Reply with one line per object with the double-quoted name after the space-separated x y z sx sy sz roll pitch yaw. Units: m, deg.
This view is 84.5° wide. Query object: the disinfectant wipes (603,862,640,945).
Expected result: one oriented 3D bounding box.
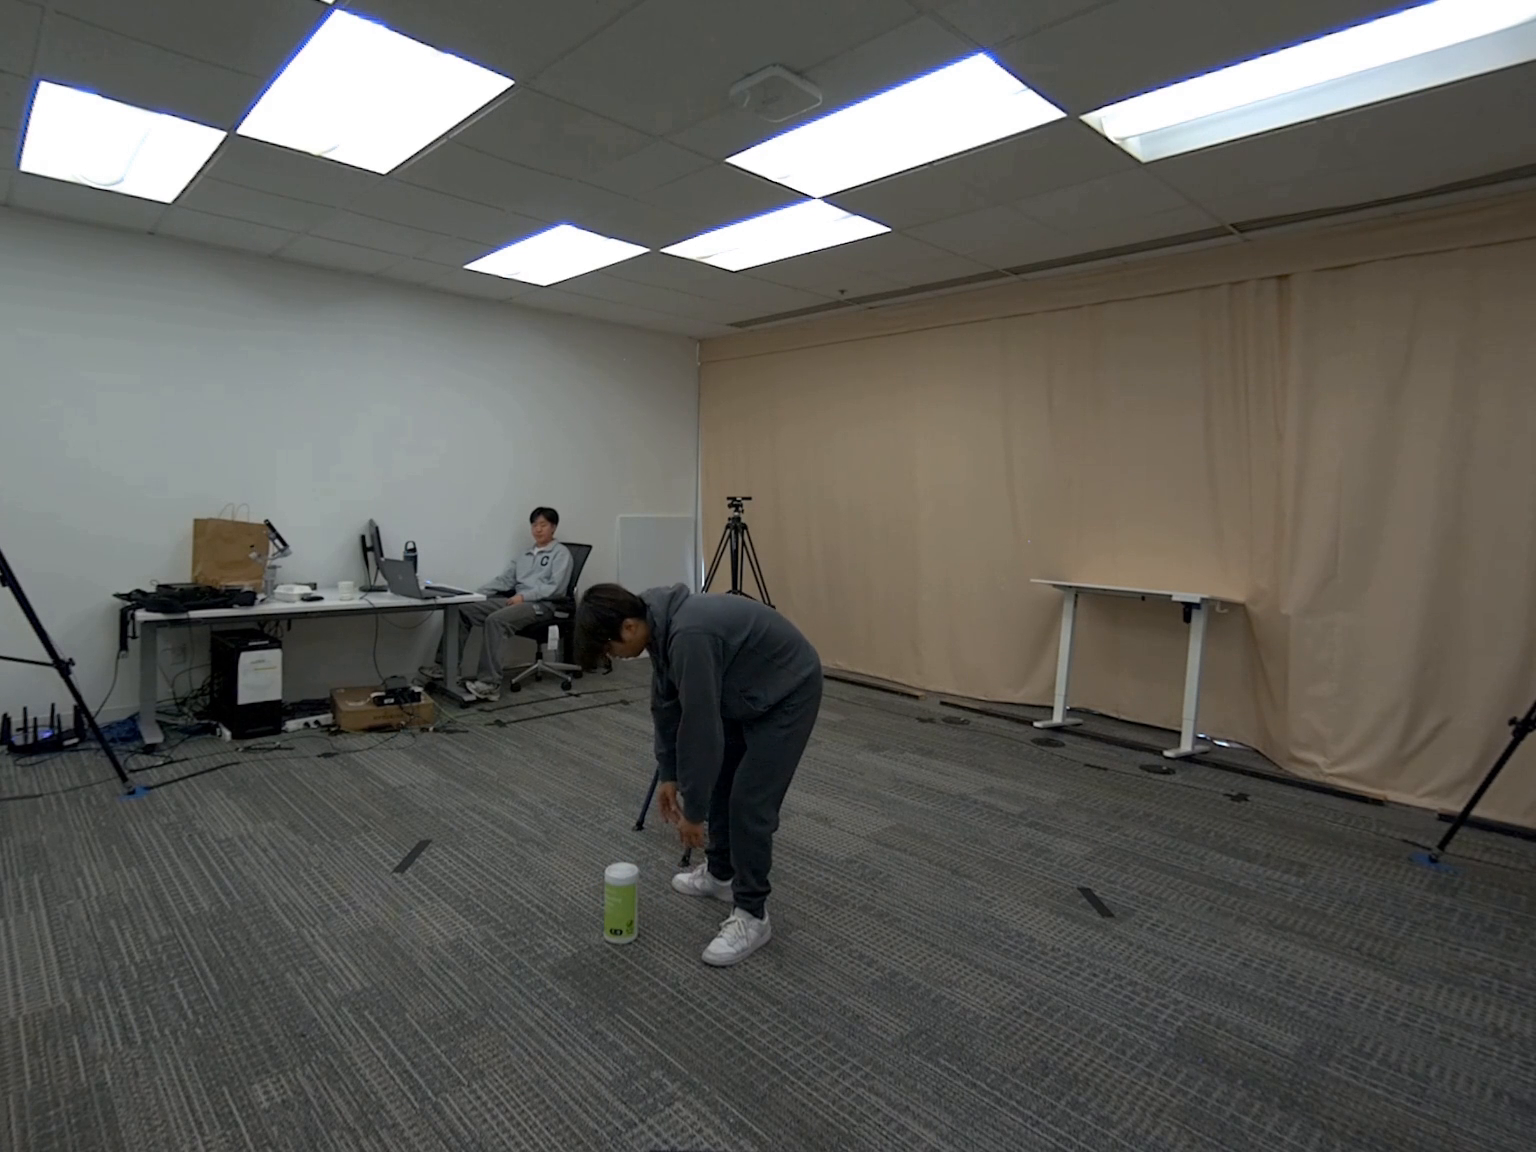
-0.465 1.028 2.659 0.118 0.216 0.118 0 5 -1 "disinfectant wipes"
